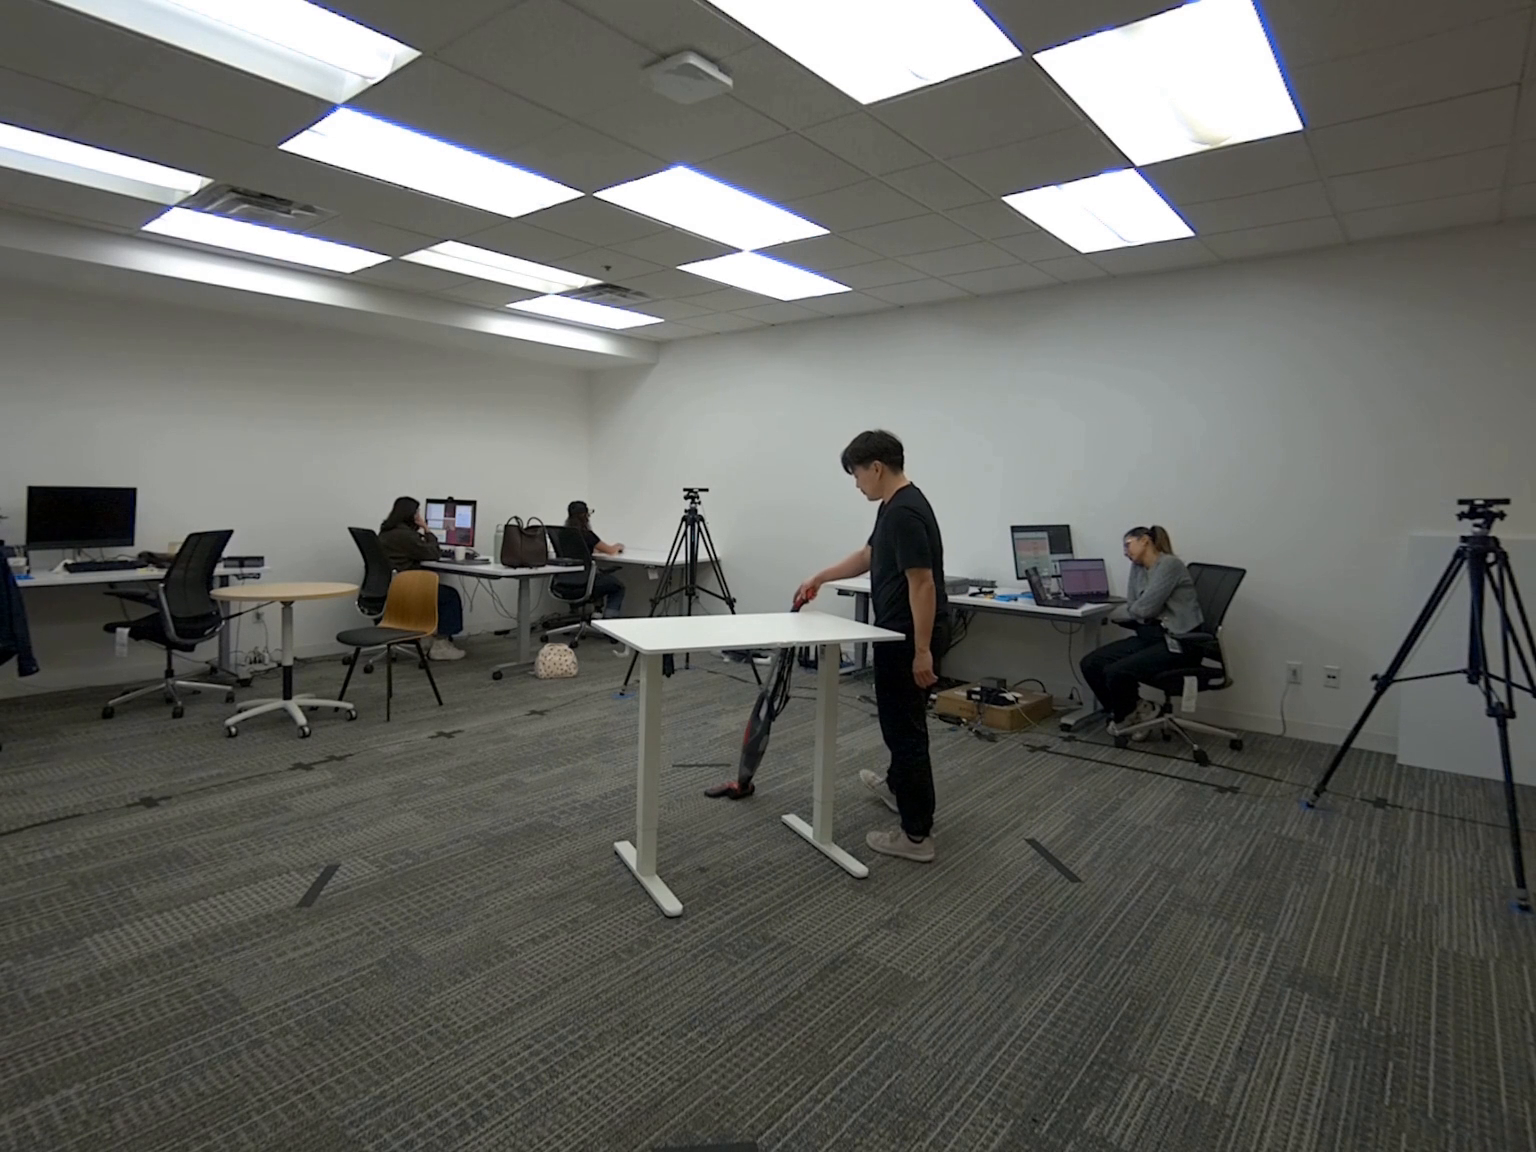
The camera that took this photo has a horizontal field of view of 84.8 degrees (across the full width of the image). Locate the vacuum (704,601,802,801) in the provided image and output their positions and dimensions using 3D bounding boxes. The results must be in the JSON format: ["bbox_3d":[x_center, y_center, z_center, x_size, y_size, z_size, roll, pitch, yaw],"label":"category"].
[{"bbox_3d":[-0.003,0.526,3.749,0.149,1.039,0.245,30,20,32],"label":"vacuum"}]
